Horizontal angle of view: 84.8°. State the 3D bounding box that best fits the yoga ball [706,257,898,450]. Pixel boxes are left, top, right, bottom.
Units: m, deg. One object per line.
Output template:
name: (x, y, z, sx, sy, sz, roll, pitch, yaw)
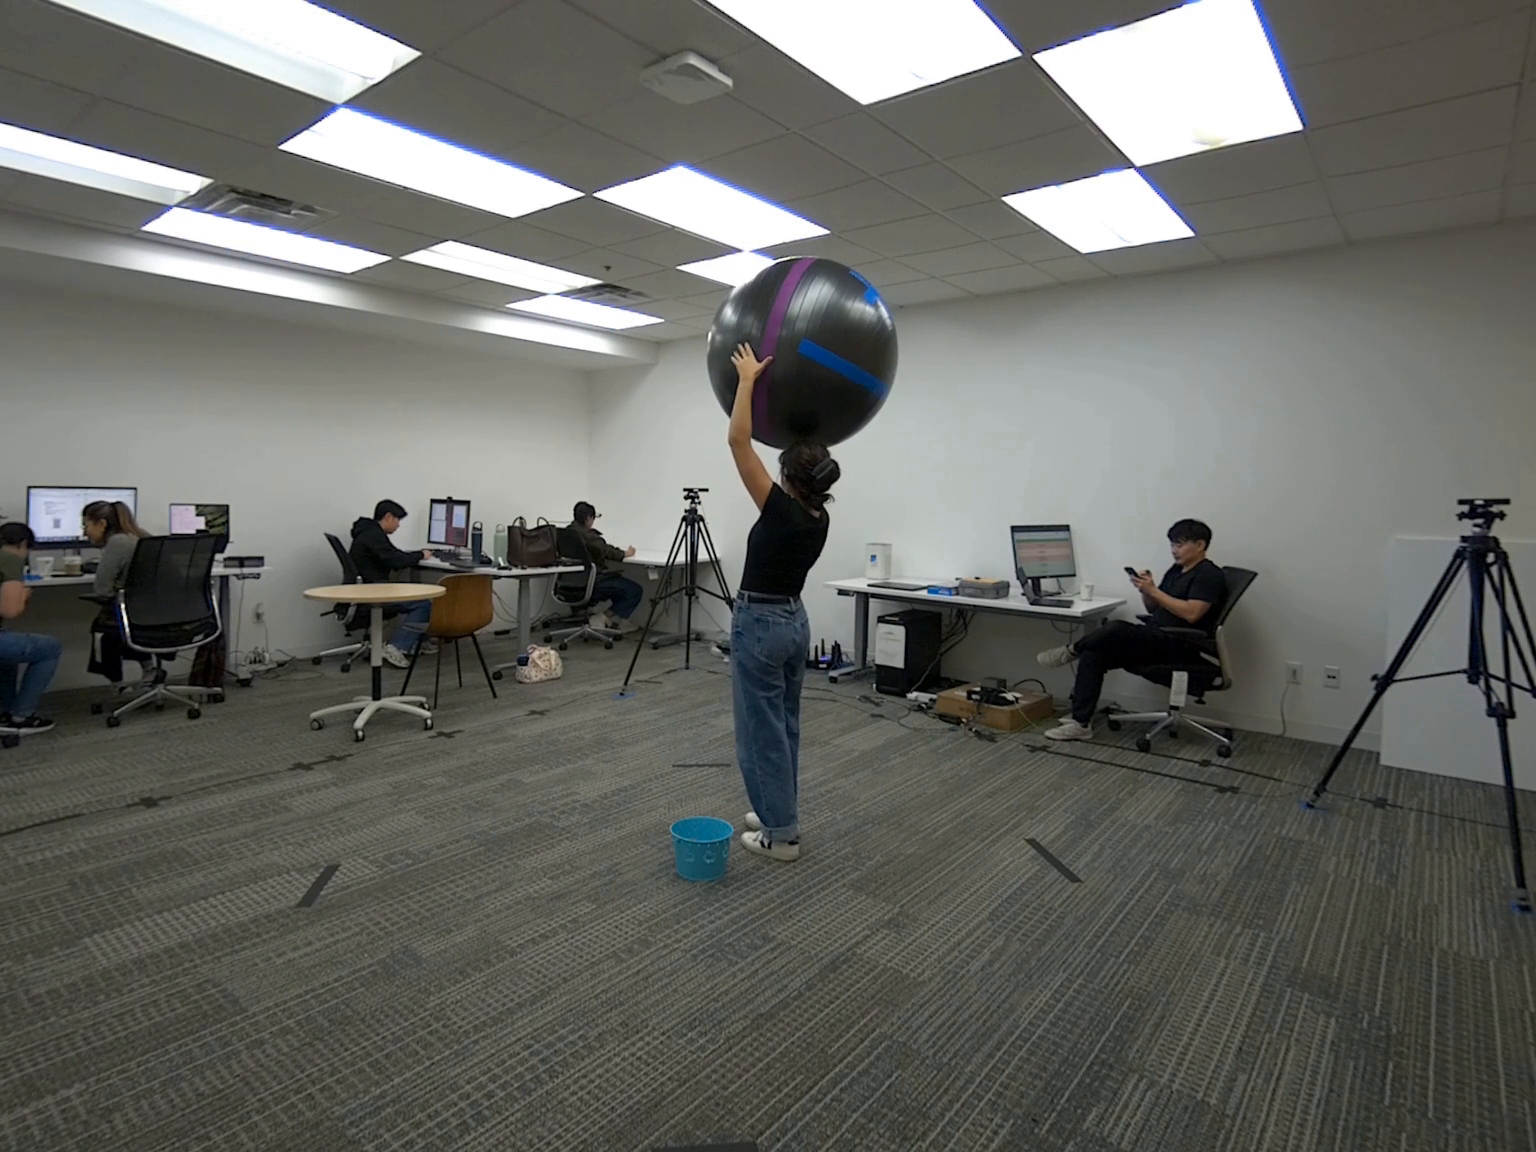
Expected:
yoga ball: (0.119, -0.885, 3.400, 0.757, 0.756, 0.762, 1, 4, -2)
